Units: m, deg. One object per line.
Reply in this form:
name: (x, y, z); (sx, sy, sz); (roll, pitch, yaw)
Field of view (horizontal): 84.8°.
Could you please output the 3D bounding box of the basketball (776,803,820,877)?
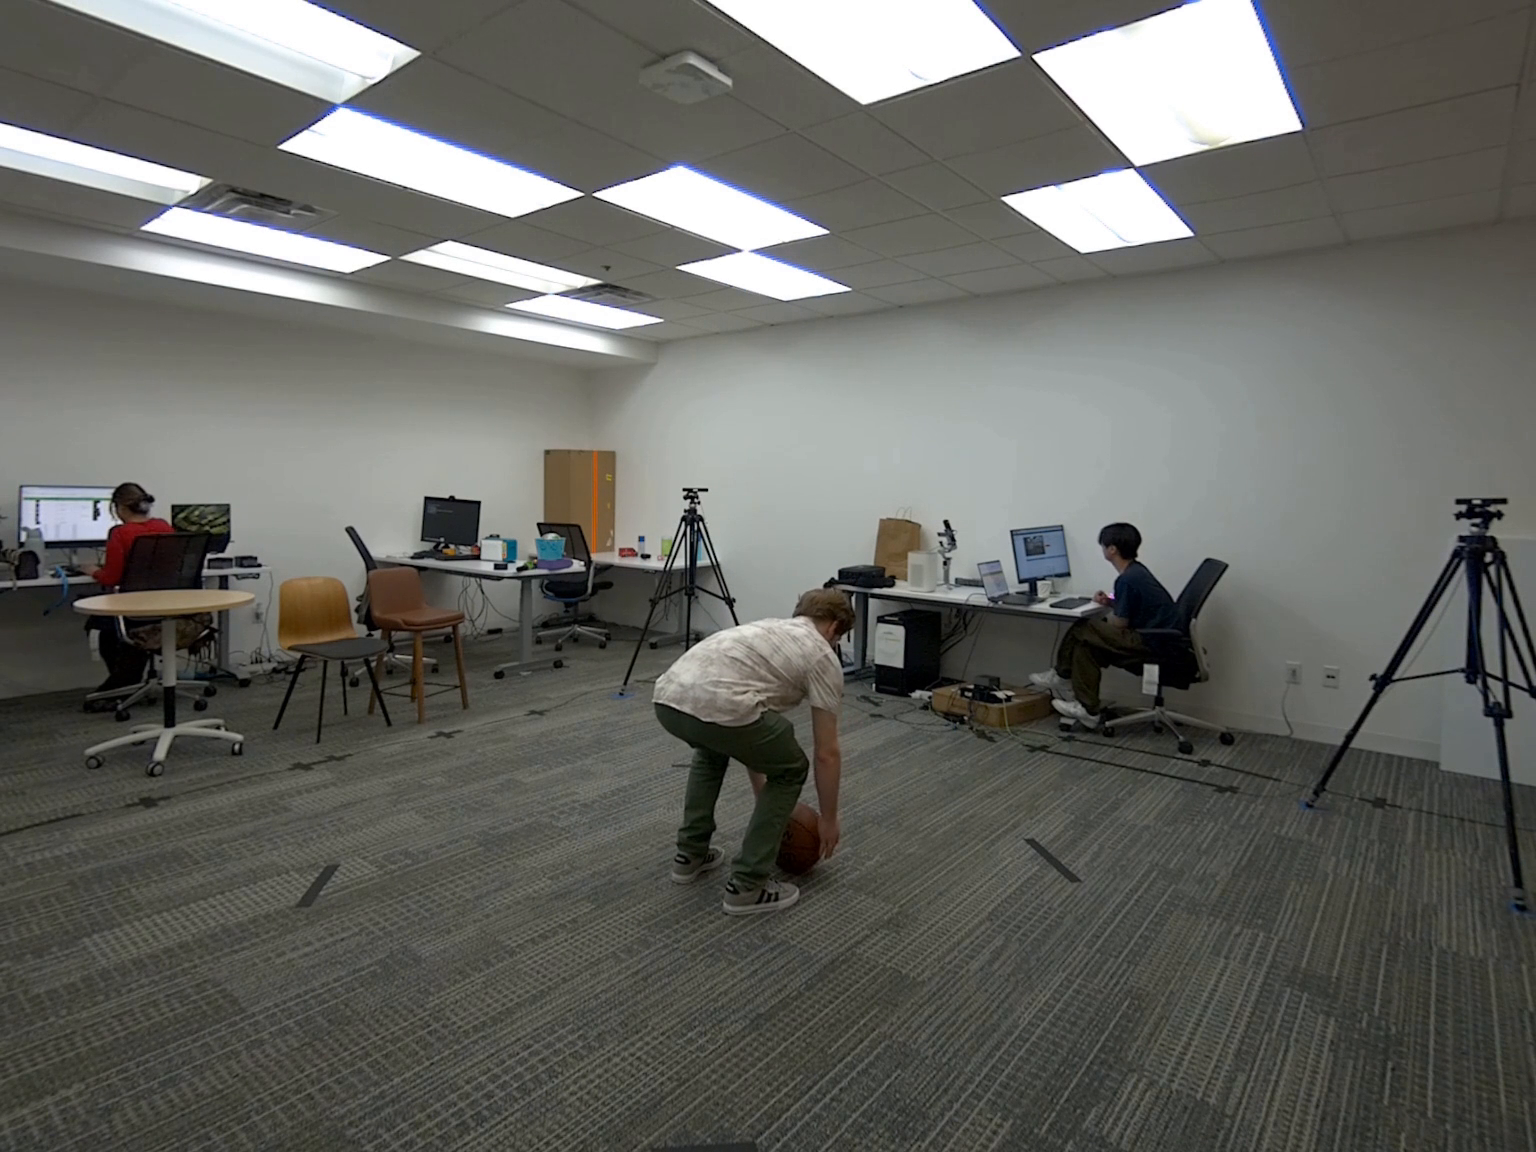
basketball: (0.085, 0.951, 3.123); (0.235, 0.235, 0.237); (1, 4, -2)
